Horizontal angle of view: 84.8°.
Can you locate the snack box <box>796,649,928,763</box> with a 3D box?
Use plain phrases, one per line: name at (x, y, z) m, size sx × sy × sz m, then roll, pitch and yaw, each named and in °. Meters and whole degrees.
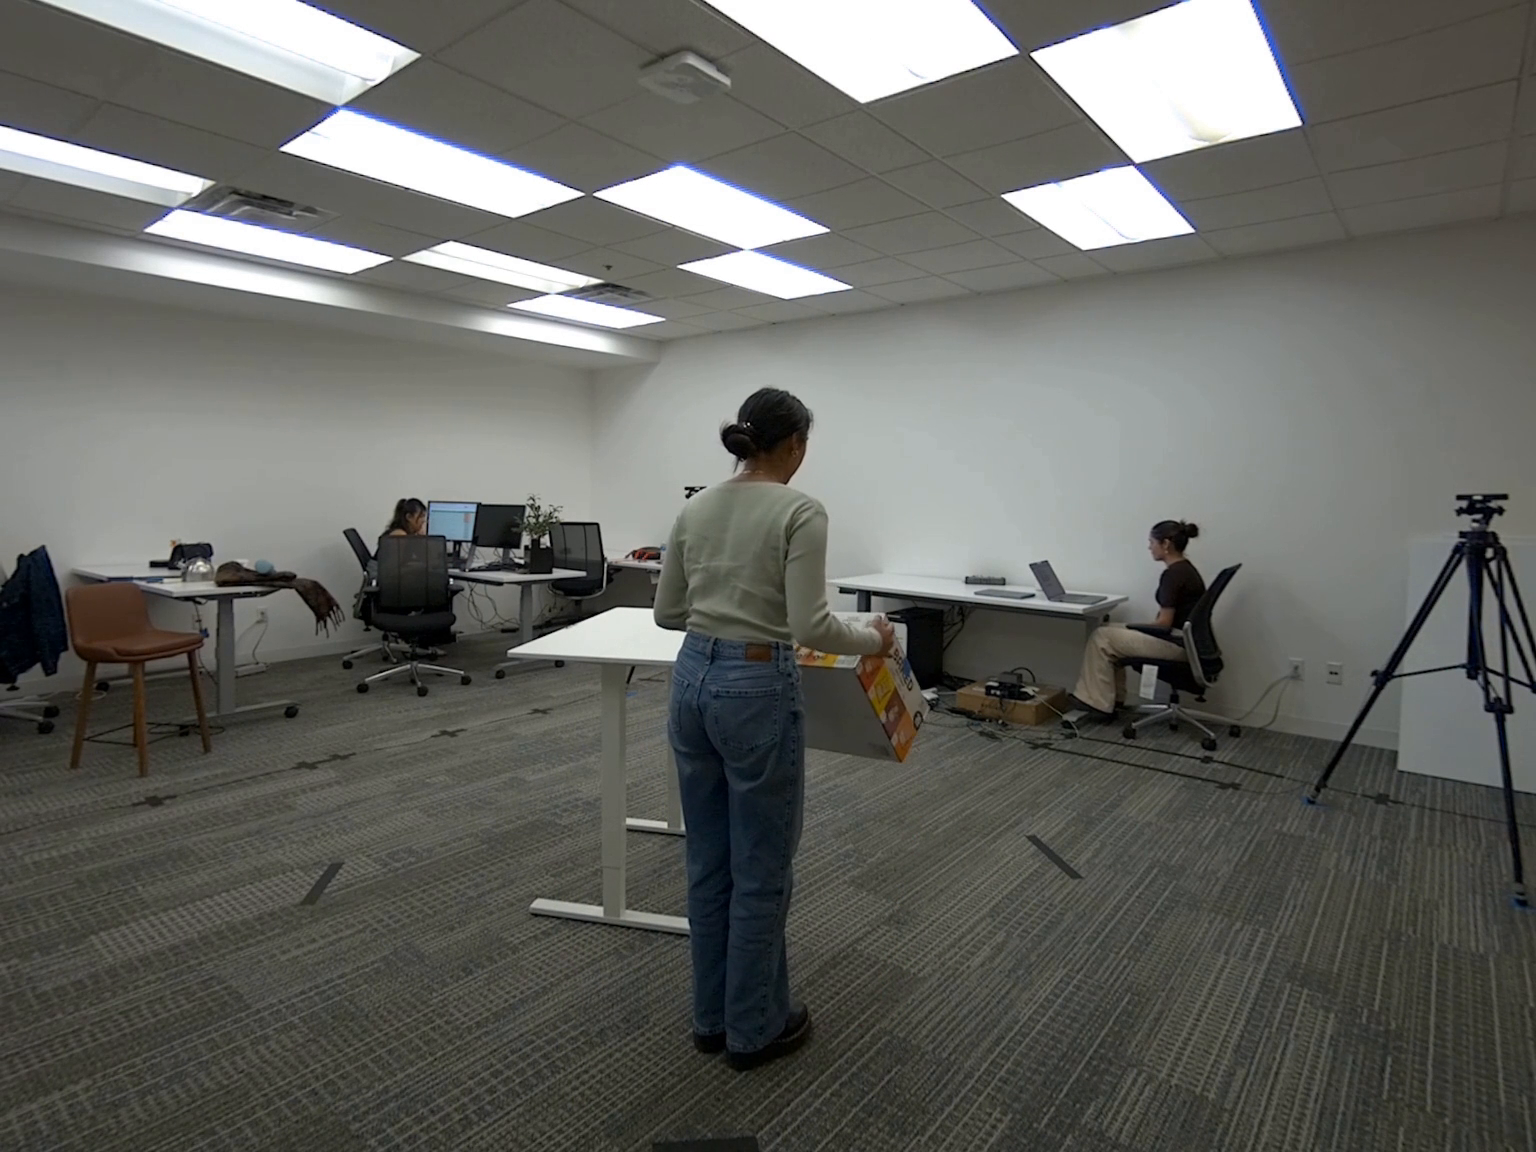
snack box at (0.157, 0.290, 2.320) m, size 0.417 × 0.329 × 0.206 m, roll -2°, pitch 37°, yaw 40°
